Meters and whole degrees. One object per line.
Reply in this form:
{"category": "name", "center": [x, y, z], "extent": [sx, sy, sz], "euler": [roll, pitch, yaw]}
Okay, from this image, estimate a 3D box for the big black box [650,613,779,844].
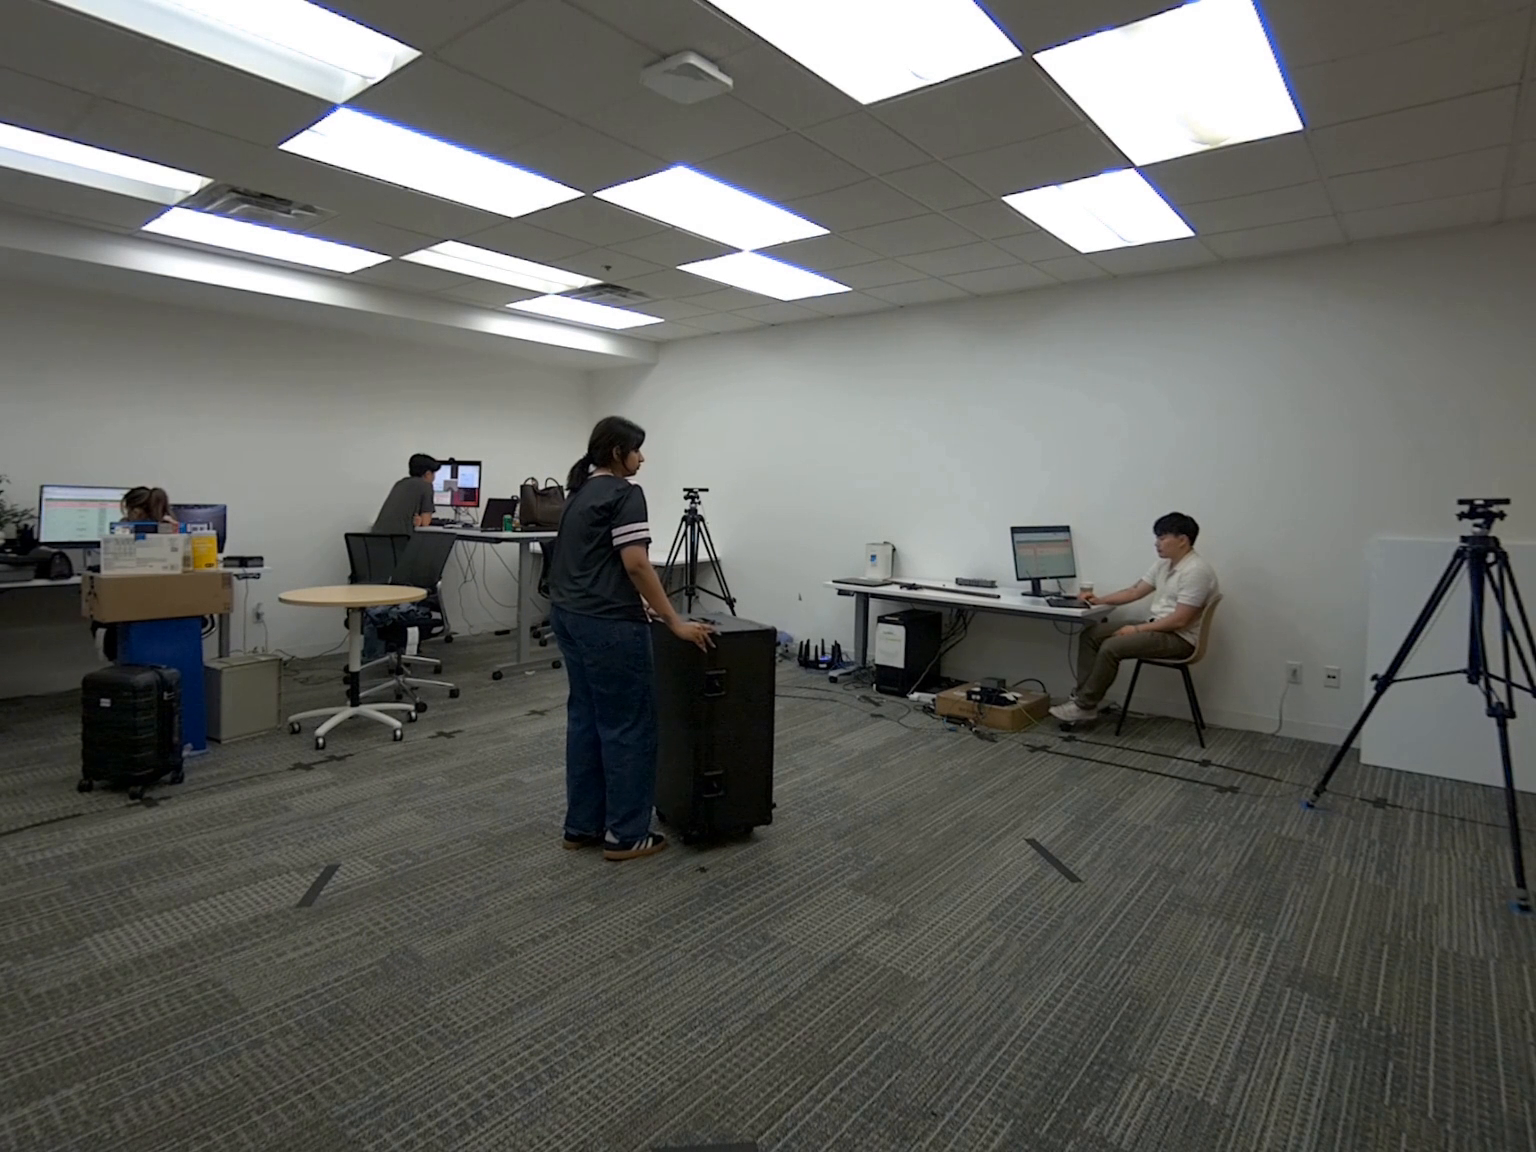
{"category": "big black box", "center": [-0.257, 0.608, 3.483], "extent": [0.375, 0.866, 0.539], "euler": [-1, 4, -29]}
